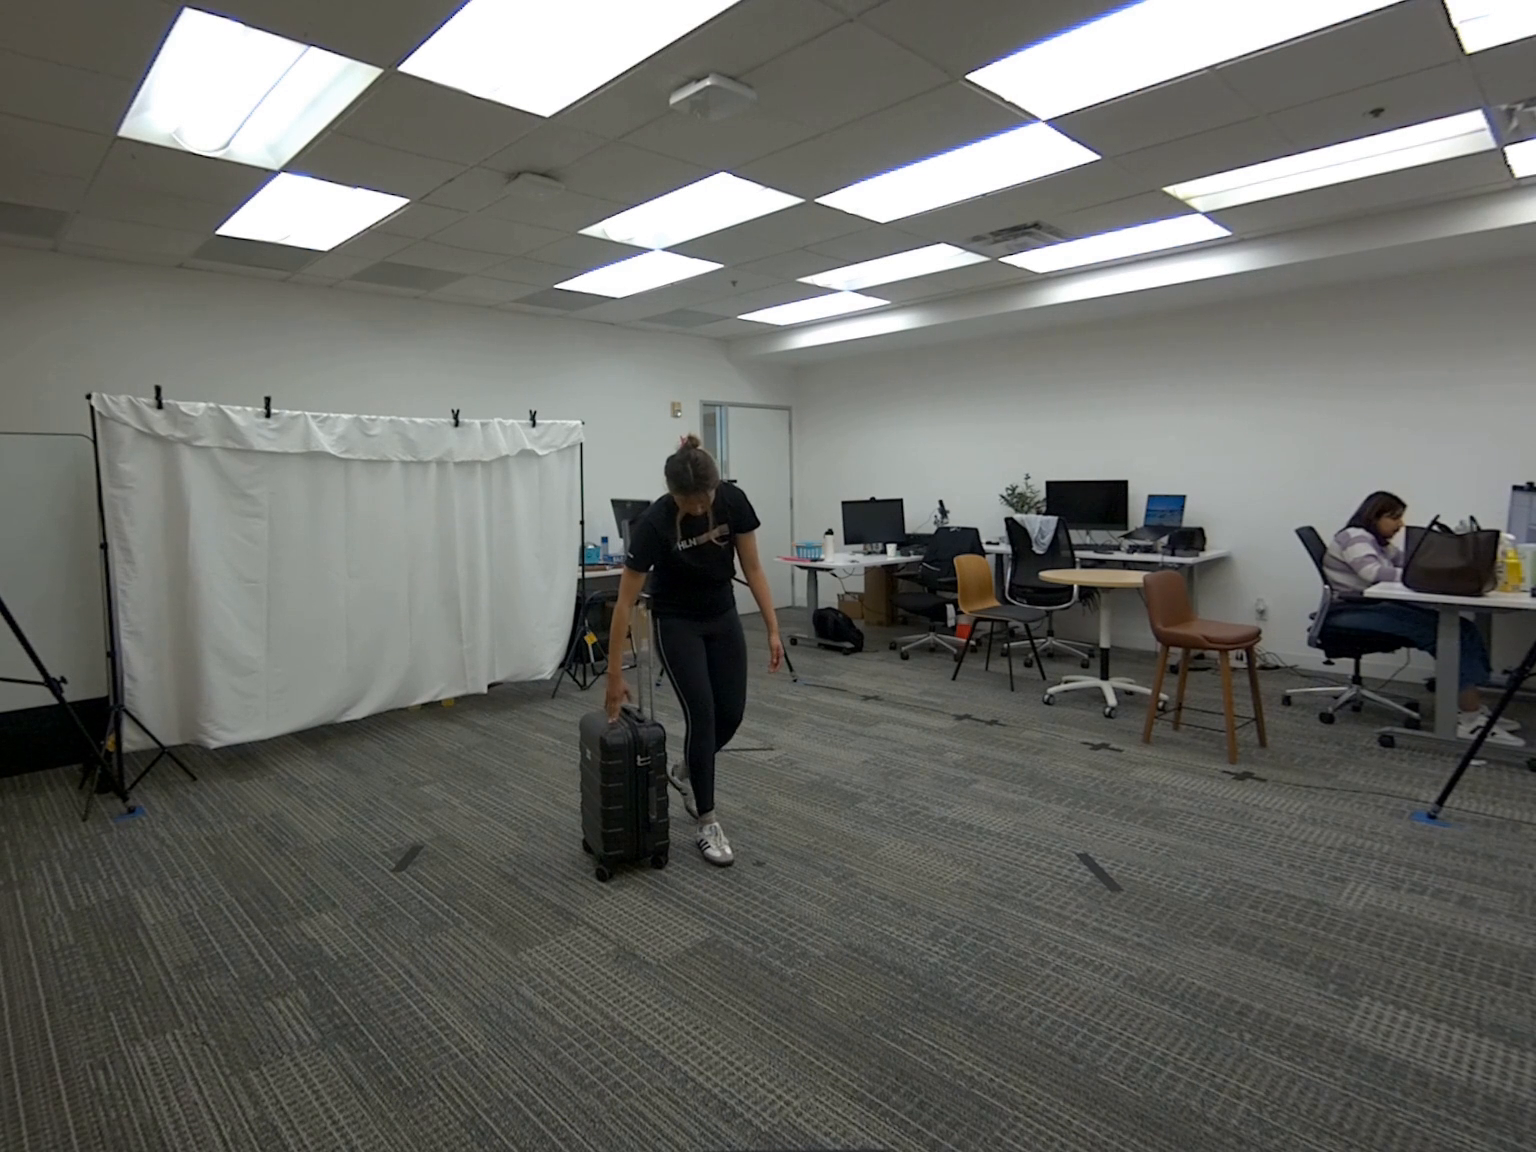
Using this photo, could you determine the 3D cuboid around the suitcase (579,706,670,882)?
[{"bbox_3d":[-0.553,0.577,3.140,0.252,0.974,0.393,-5,5,-24],"label":"suitcase"}]
